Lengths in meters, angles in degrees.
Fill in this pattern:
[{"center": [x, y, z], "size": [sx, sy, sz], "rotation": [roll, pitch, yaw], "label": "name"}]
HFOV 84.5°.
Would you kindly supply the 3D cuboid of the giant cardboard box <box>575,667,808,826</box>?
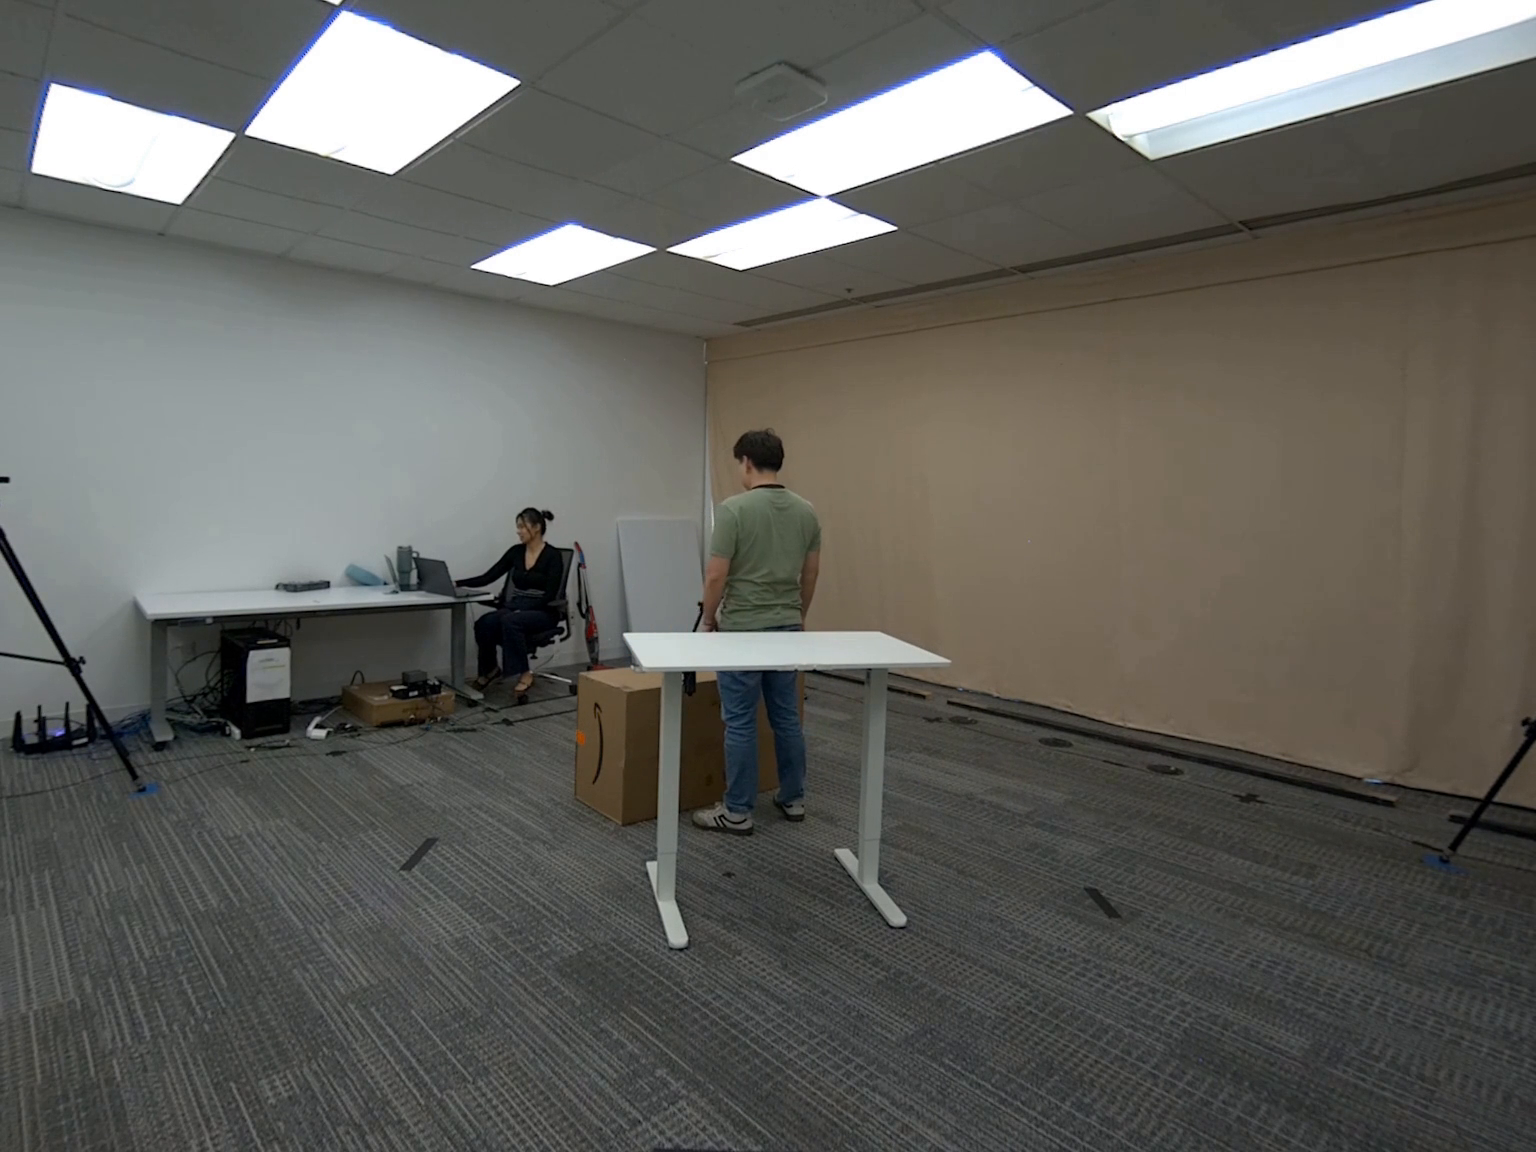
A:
[{"center": [-0.362, 0.733, 3.996], "size": [1.002, 0.576, 0.437], "rotation": [-2, 5, -40], "label": "giant cardboard box"}]
